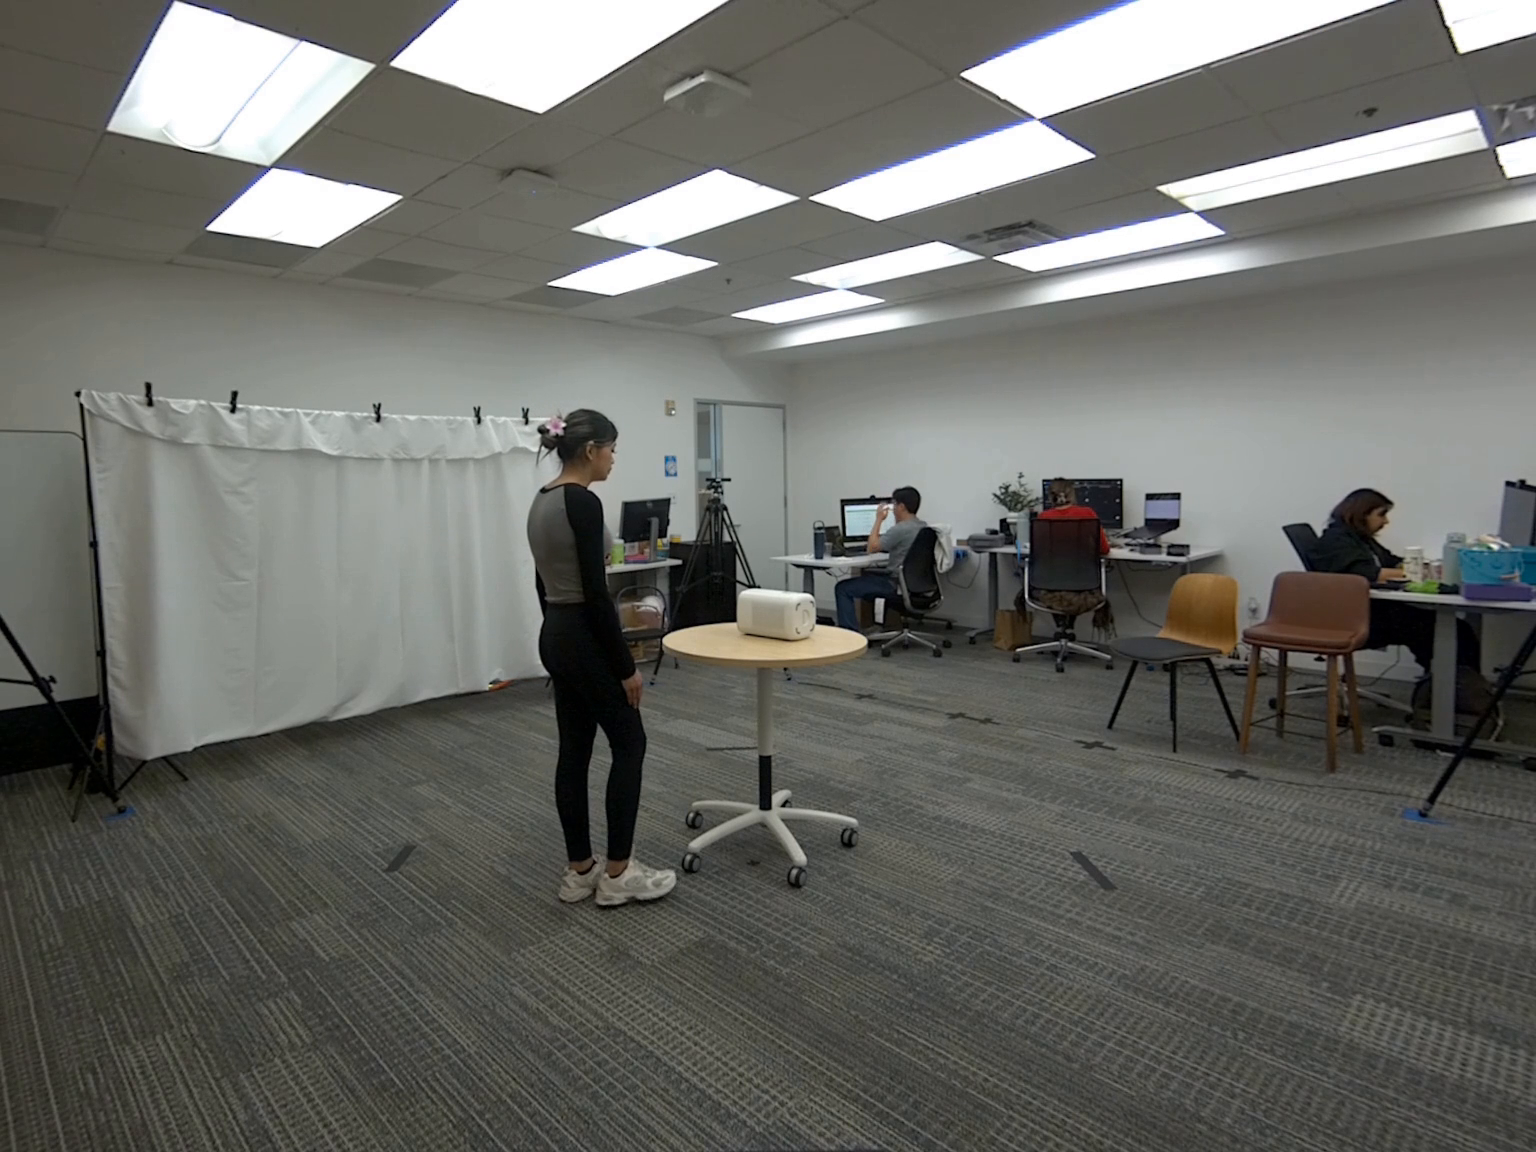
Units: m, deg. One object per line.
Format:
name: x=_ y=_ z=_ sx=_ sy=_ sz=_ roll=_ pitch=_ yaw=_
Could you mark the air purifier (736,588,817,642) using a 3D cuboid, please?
air purifier: x=0.038 y=0.143 z=3.256 sx=0.273 sy=0.171 sz=0.166 roll=4 pitch=5 yaw=40
